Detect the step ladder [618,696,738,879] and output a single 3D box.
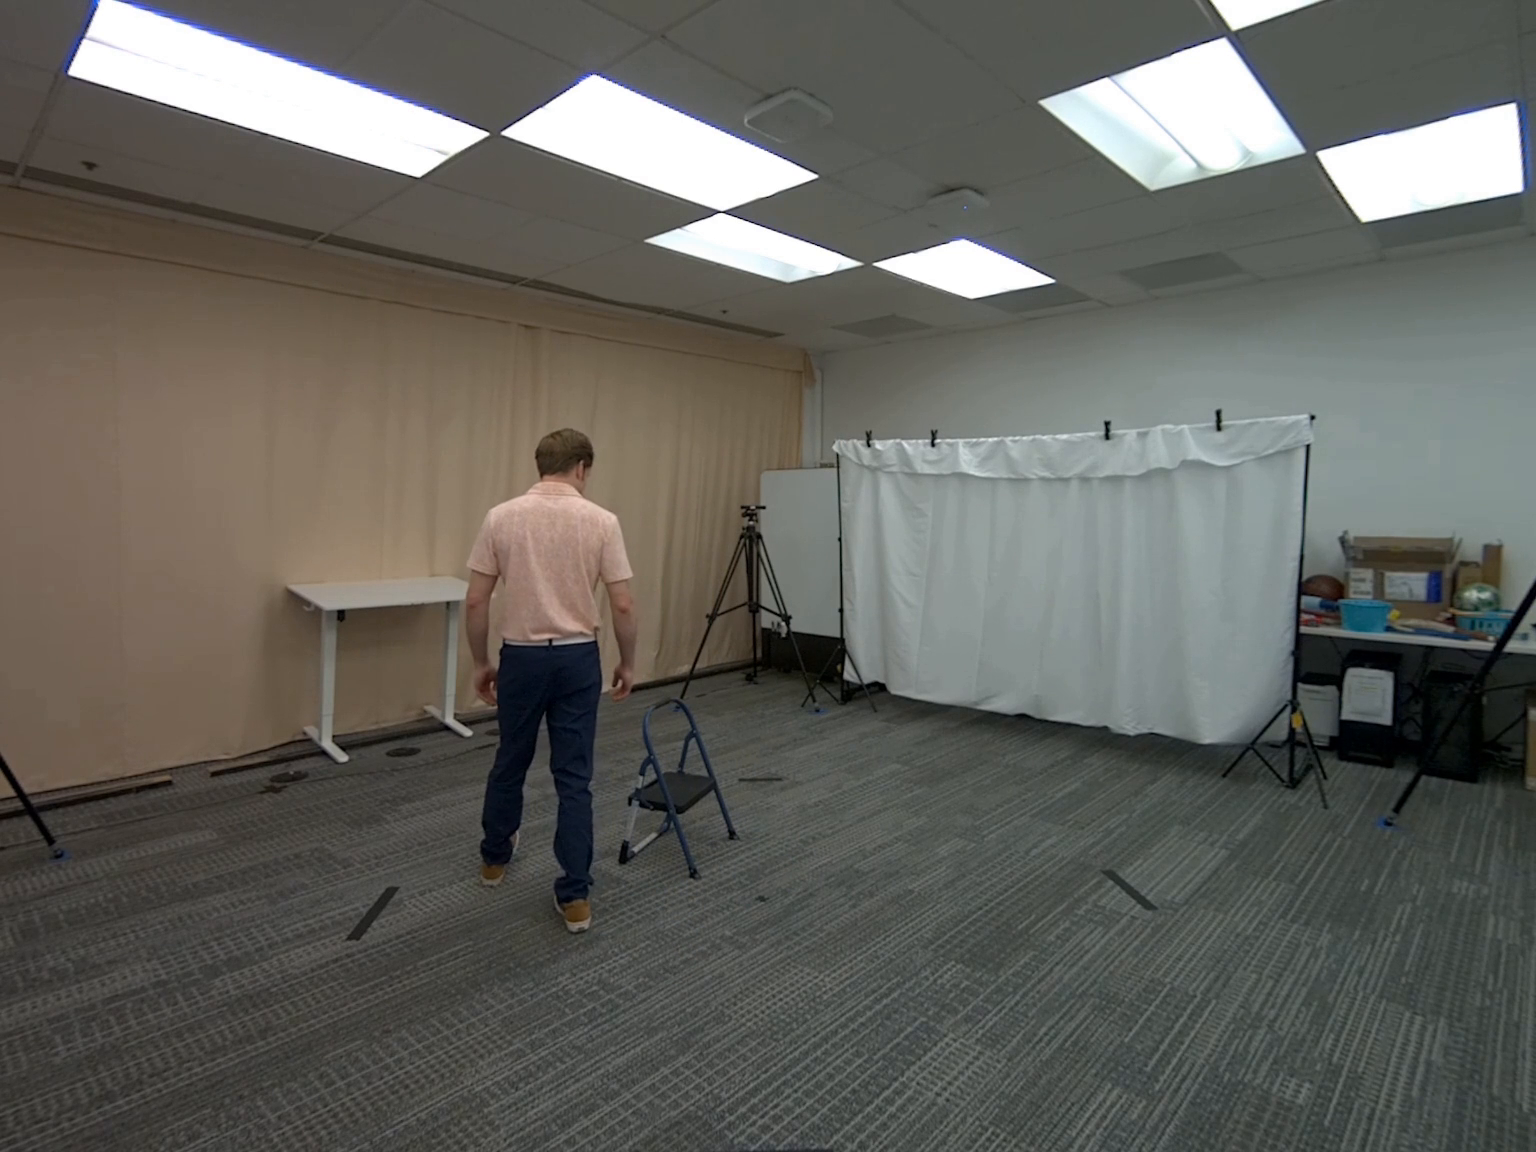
[{"bbox_3d":[-0.355,0.810,3.391,0.357,0.605,0.422,1,3,21],"label":"step ladder"}]
